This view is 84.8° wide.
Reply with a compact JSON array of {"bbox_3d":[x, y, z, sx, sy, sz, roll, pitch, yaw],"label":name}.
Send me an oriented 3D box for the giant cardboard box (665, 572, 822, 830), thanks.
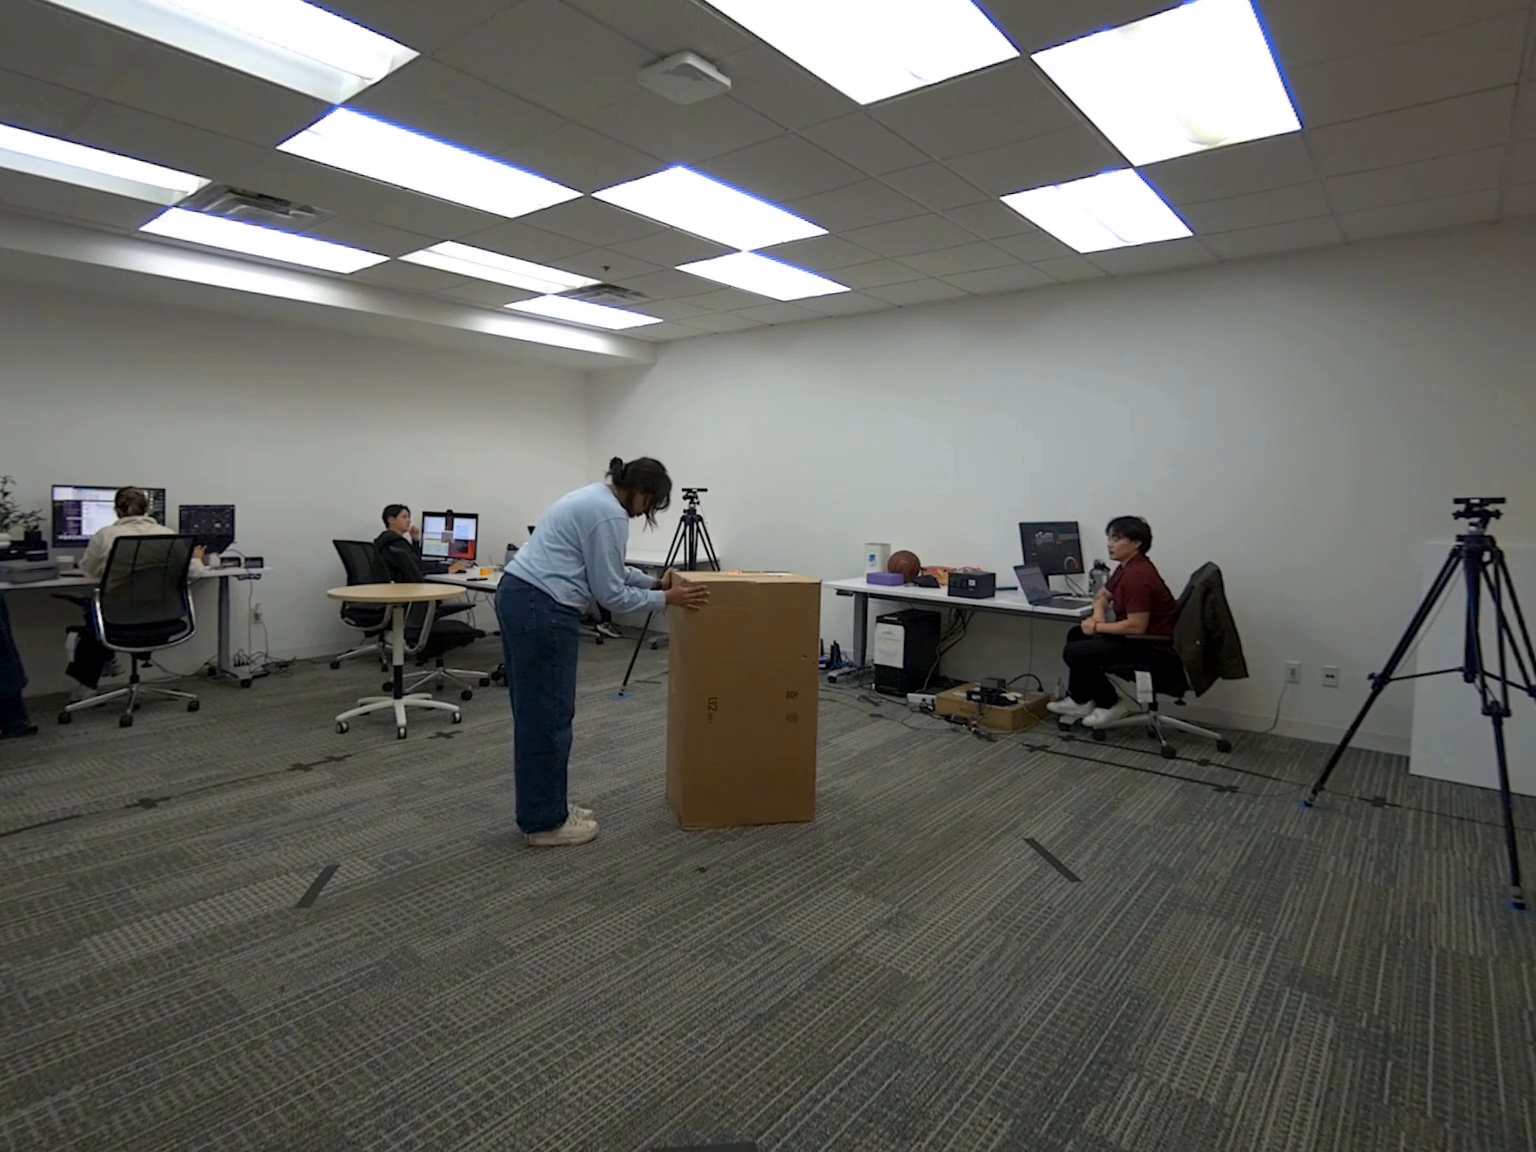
[{"bbox_3d":[-0.130,0.508,3.700,0.569,1.023,0.434,0,3,-14],"label":"giant cardboard box"}]
